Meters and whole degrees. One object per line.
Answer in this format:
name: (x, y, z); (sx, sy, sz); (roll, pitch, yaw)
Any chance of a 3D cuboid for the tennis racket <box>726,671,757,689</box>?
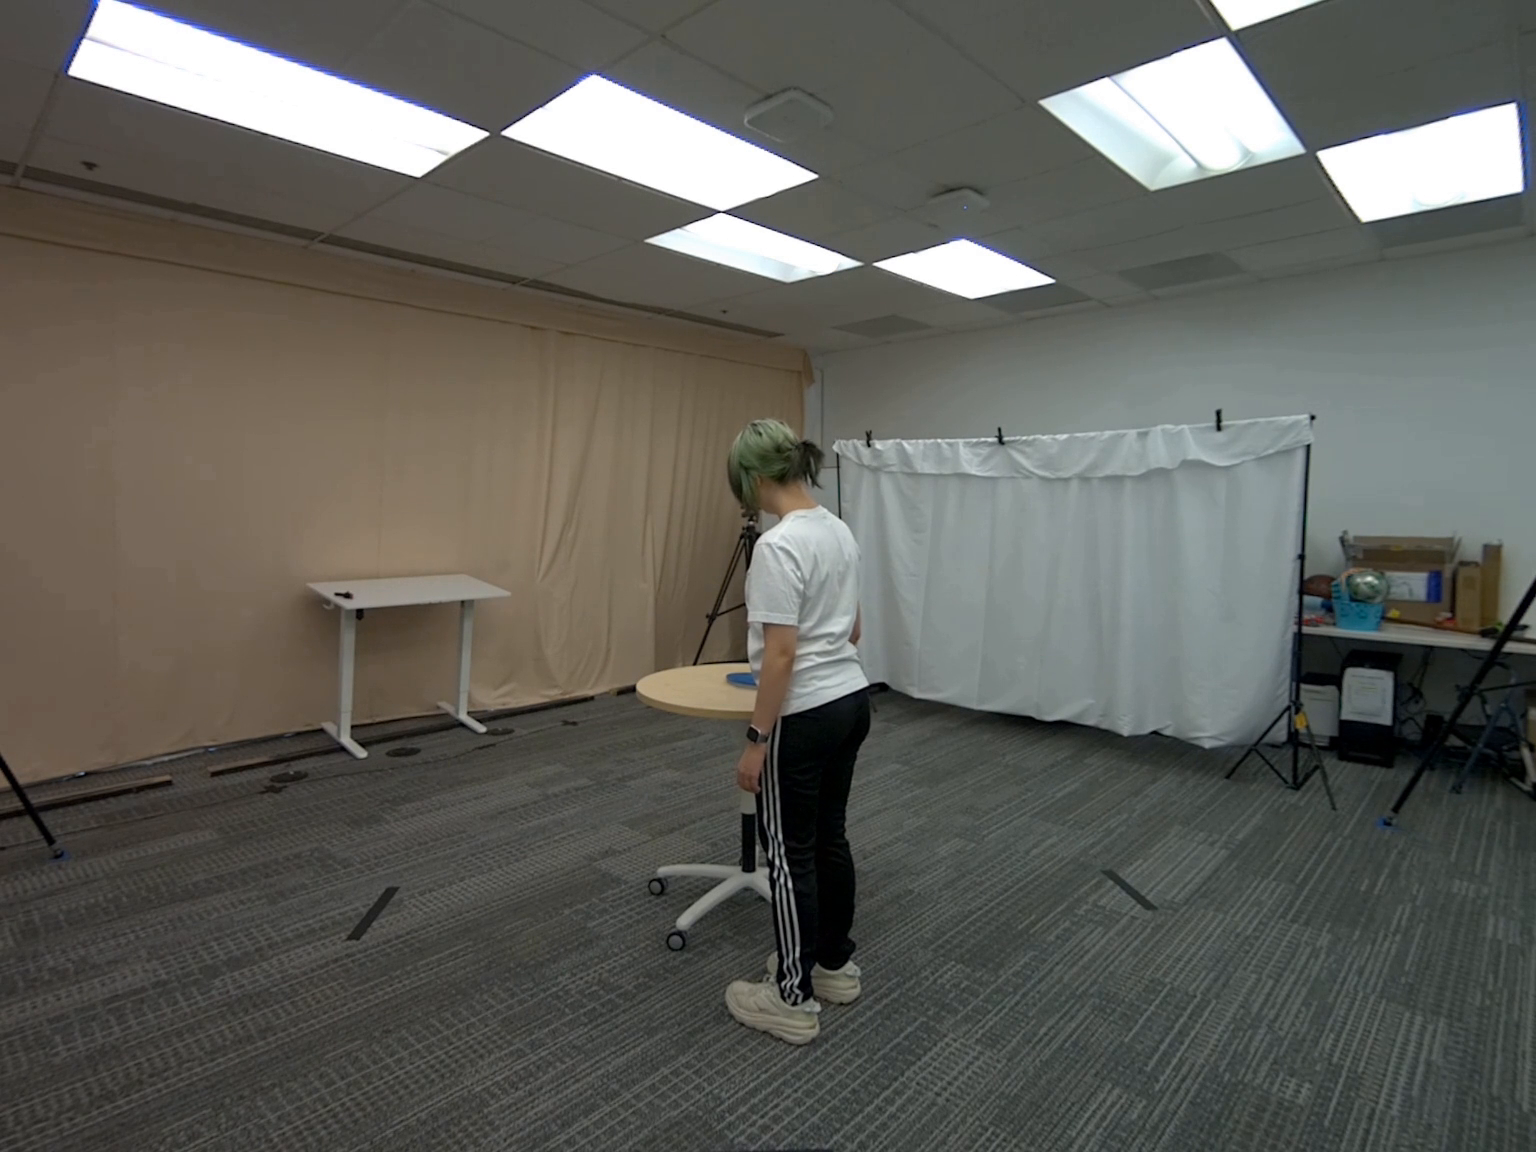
tennis racket: (0.027, 0.361, 2.807); (0.207, 0.032, 0.447); (-1, 4, -36)
